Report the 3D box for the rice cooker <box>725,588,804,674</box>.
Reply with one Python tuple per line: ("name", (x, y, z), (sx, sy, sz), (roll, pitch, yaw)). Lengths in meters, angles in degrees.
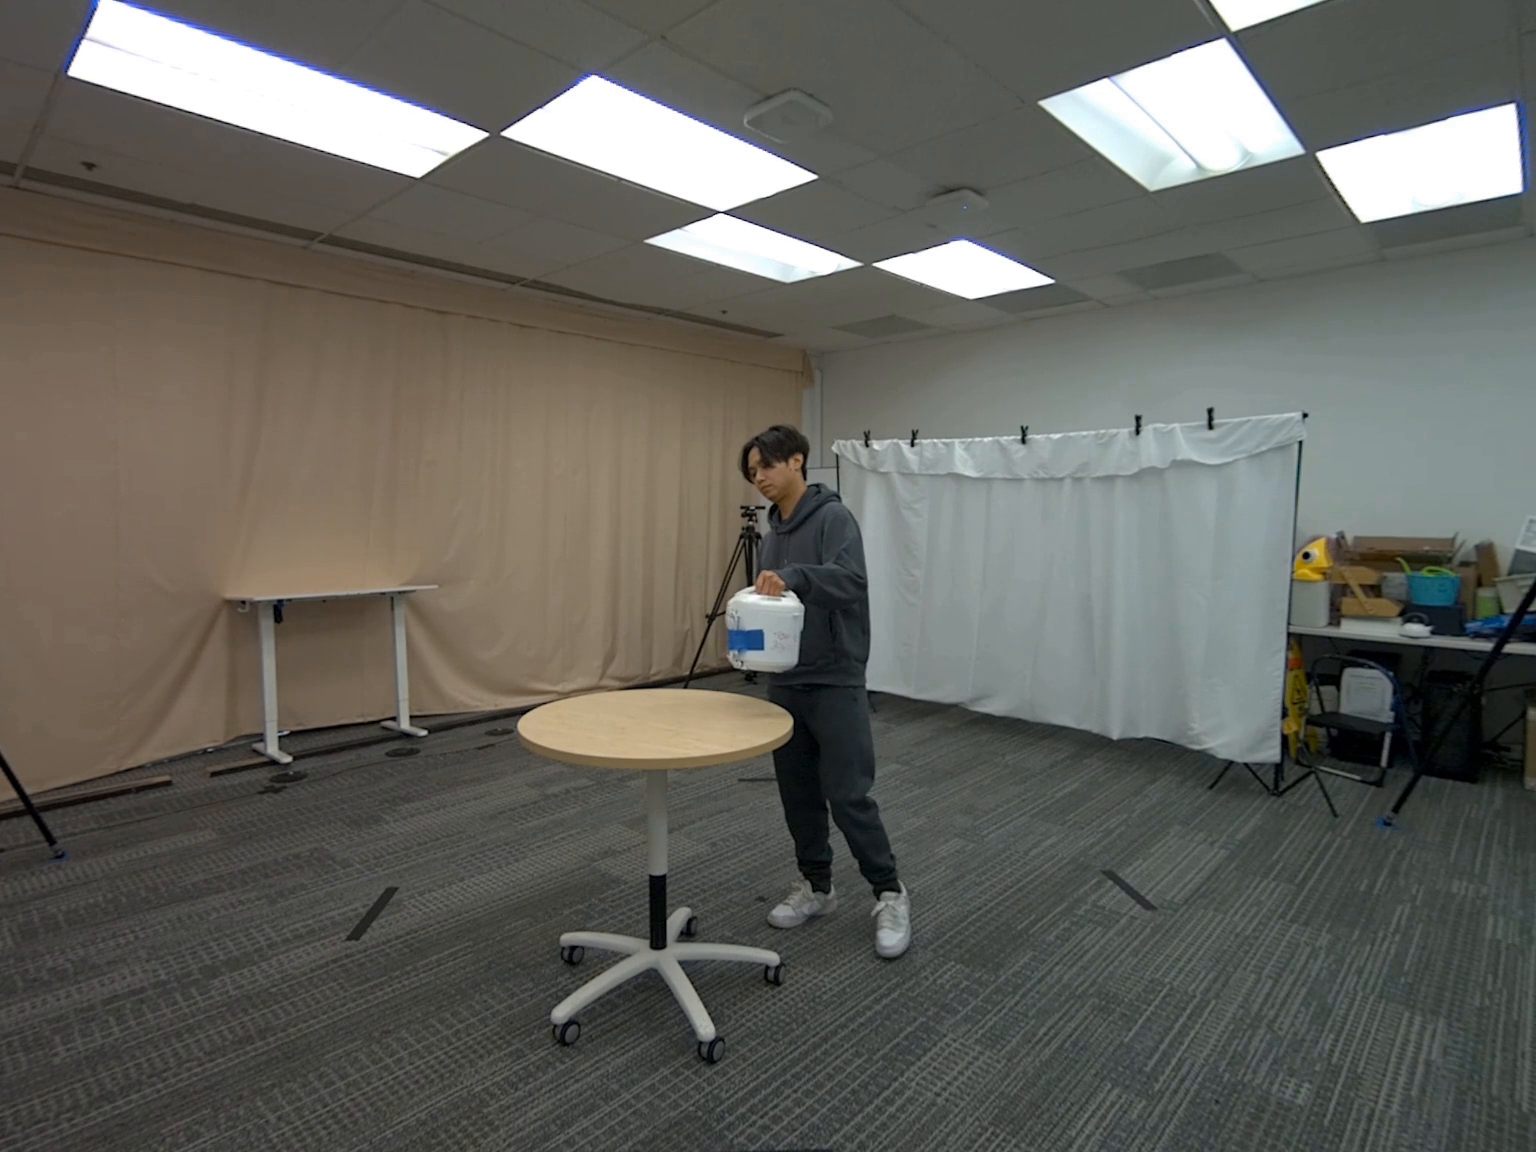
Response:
("rice cooker", (-0.010, 0.145, 2.394), (0.221, 0.232, 0.218), (6, 2, -1))
